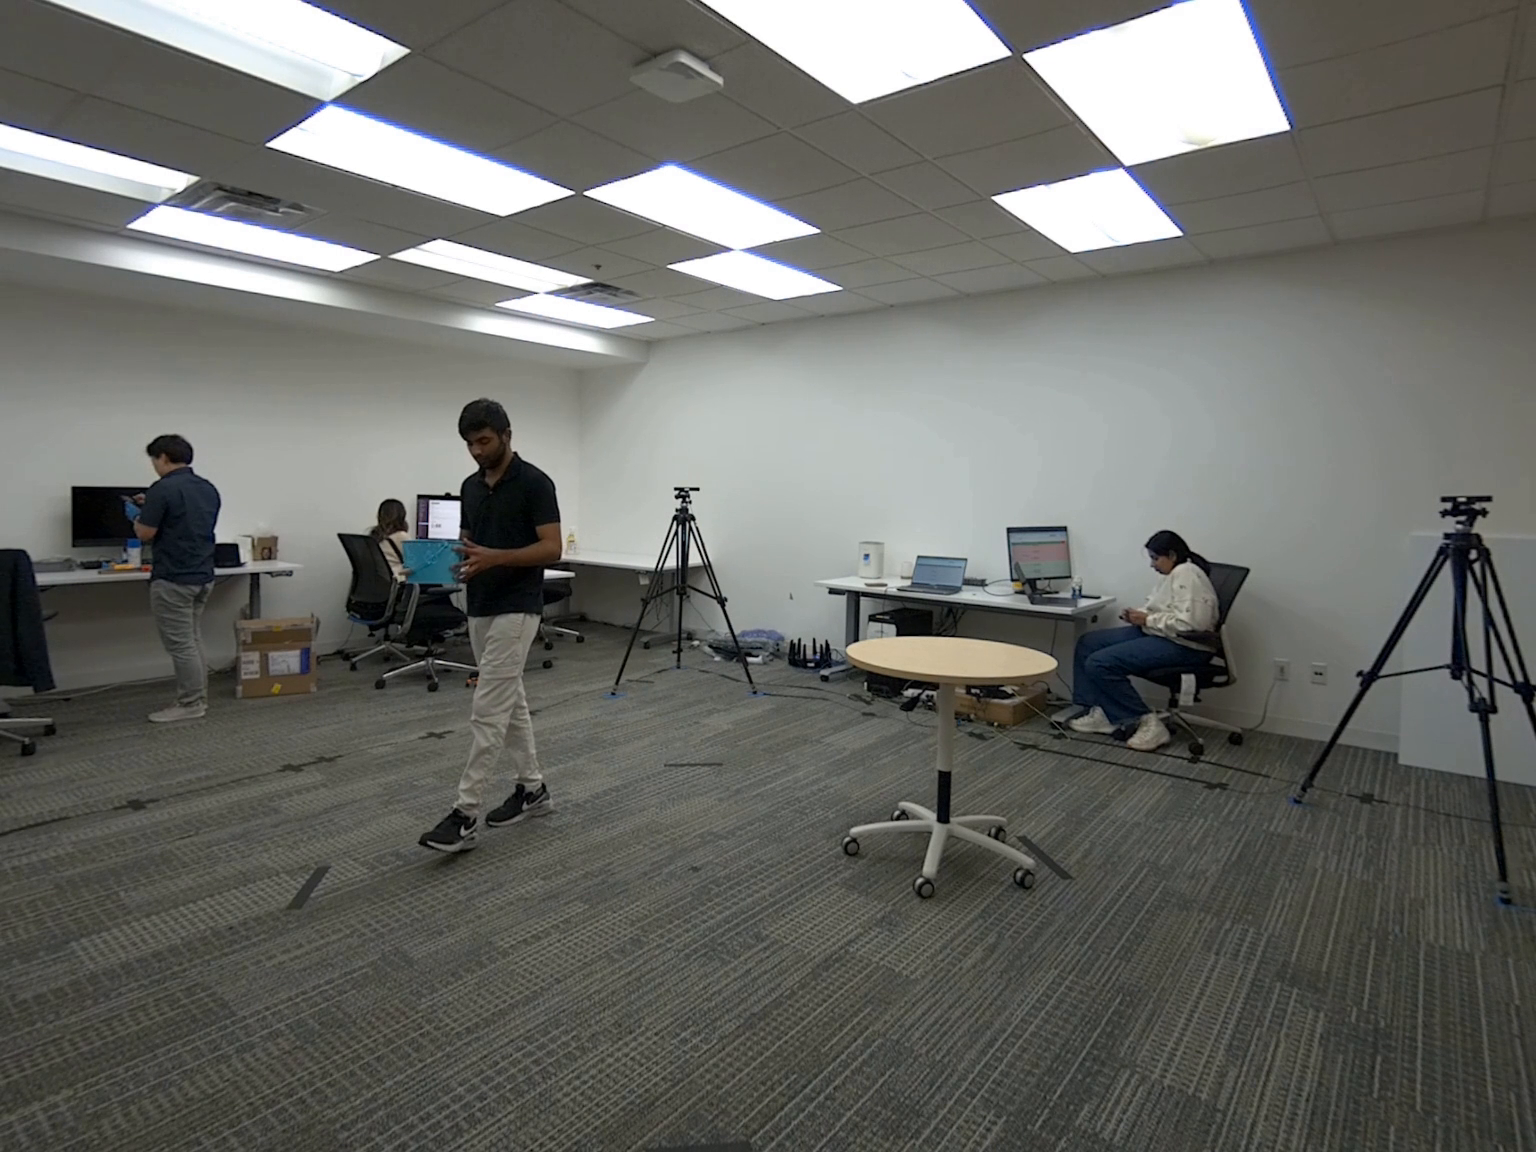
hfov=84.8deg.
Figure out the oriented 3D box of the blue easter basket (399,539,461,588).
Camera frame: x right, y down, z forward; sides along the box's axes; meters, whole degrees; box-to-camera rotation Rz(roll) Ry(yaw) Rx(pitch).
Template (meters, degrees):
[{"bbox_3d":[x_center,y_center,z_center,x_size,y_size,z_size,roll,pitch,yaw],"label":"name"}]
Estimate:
[{"bbox_3d":[-1.273,-0.048,3.108,0.243,0.156,0.243,-1,-2,-2],"label":"blue easter basket"}]
